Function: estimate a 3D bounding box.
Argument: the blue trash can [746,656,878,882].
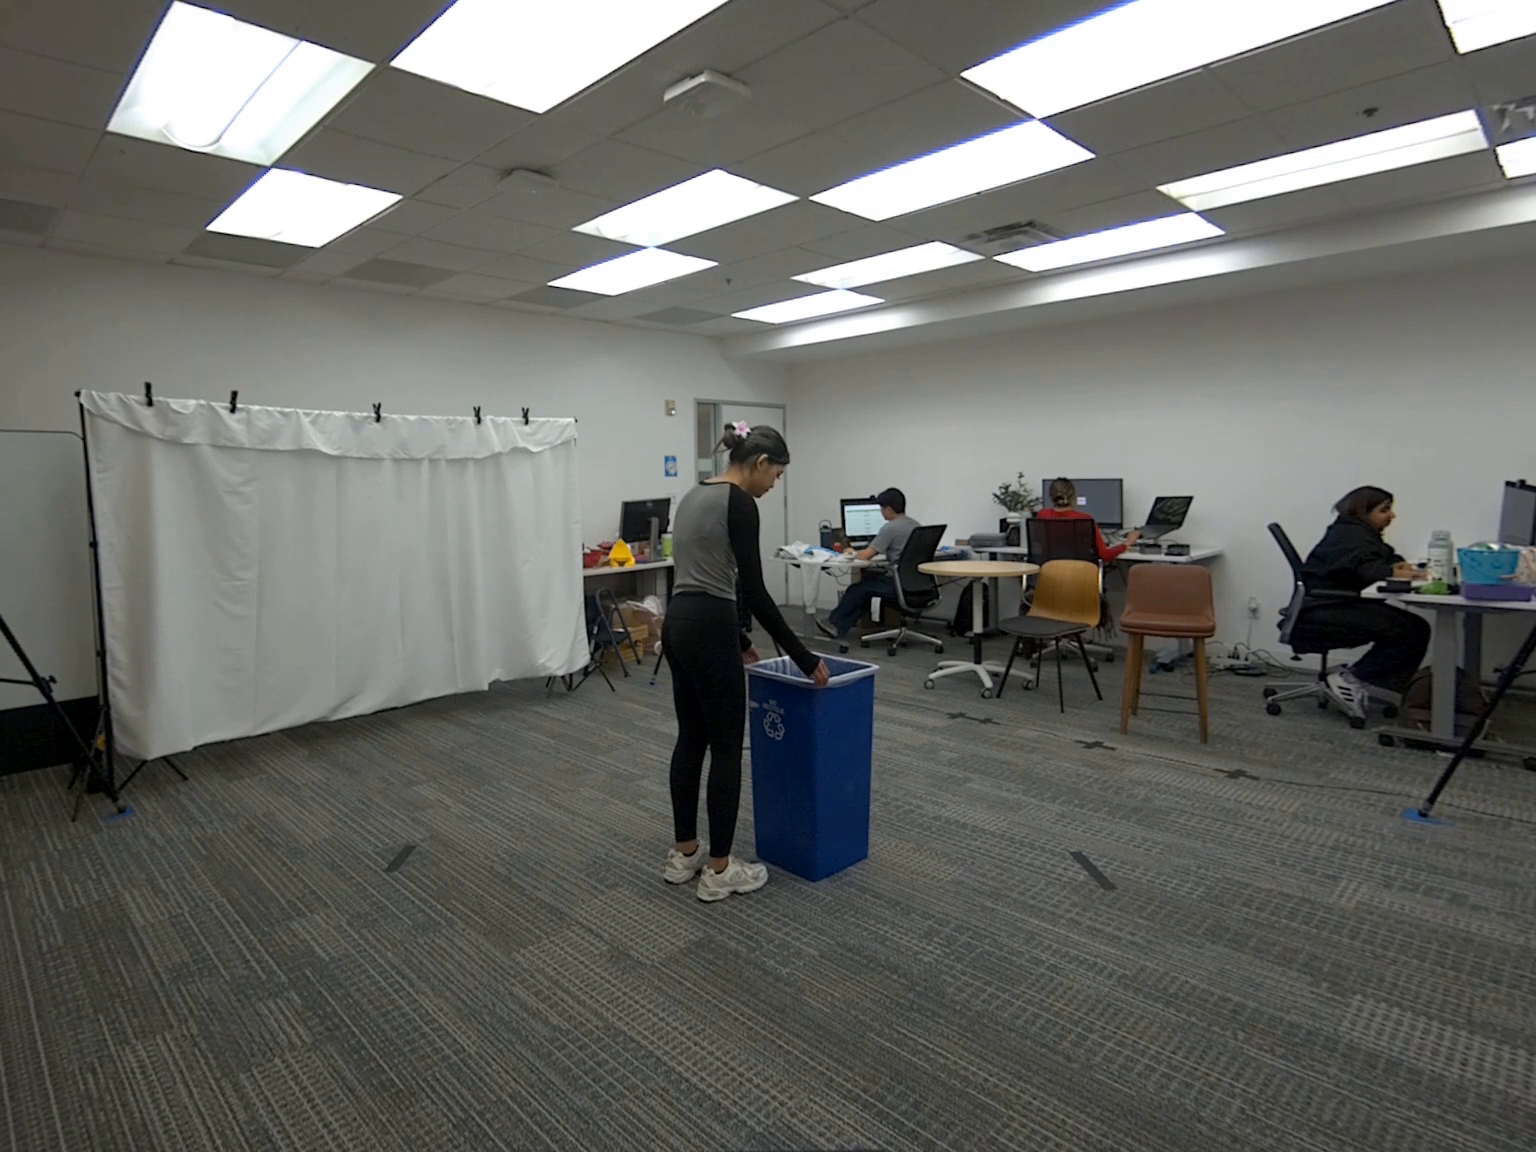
[{"bbox_3d":[0.170,0.679,3.125,0.368,0.711,0.385,-5,6,-44],"label":"blue trash can"}]
